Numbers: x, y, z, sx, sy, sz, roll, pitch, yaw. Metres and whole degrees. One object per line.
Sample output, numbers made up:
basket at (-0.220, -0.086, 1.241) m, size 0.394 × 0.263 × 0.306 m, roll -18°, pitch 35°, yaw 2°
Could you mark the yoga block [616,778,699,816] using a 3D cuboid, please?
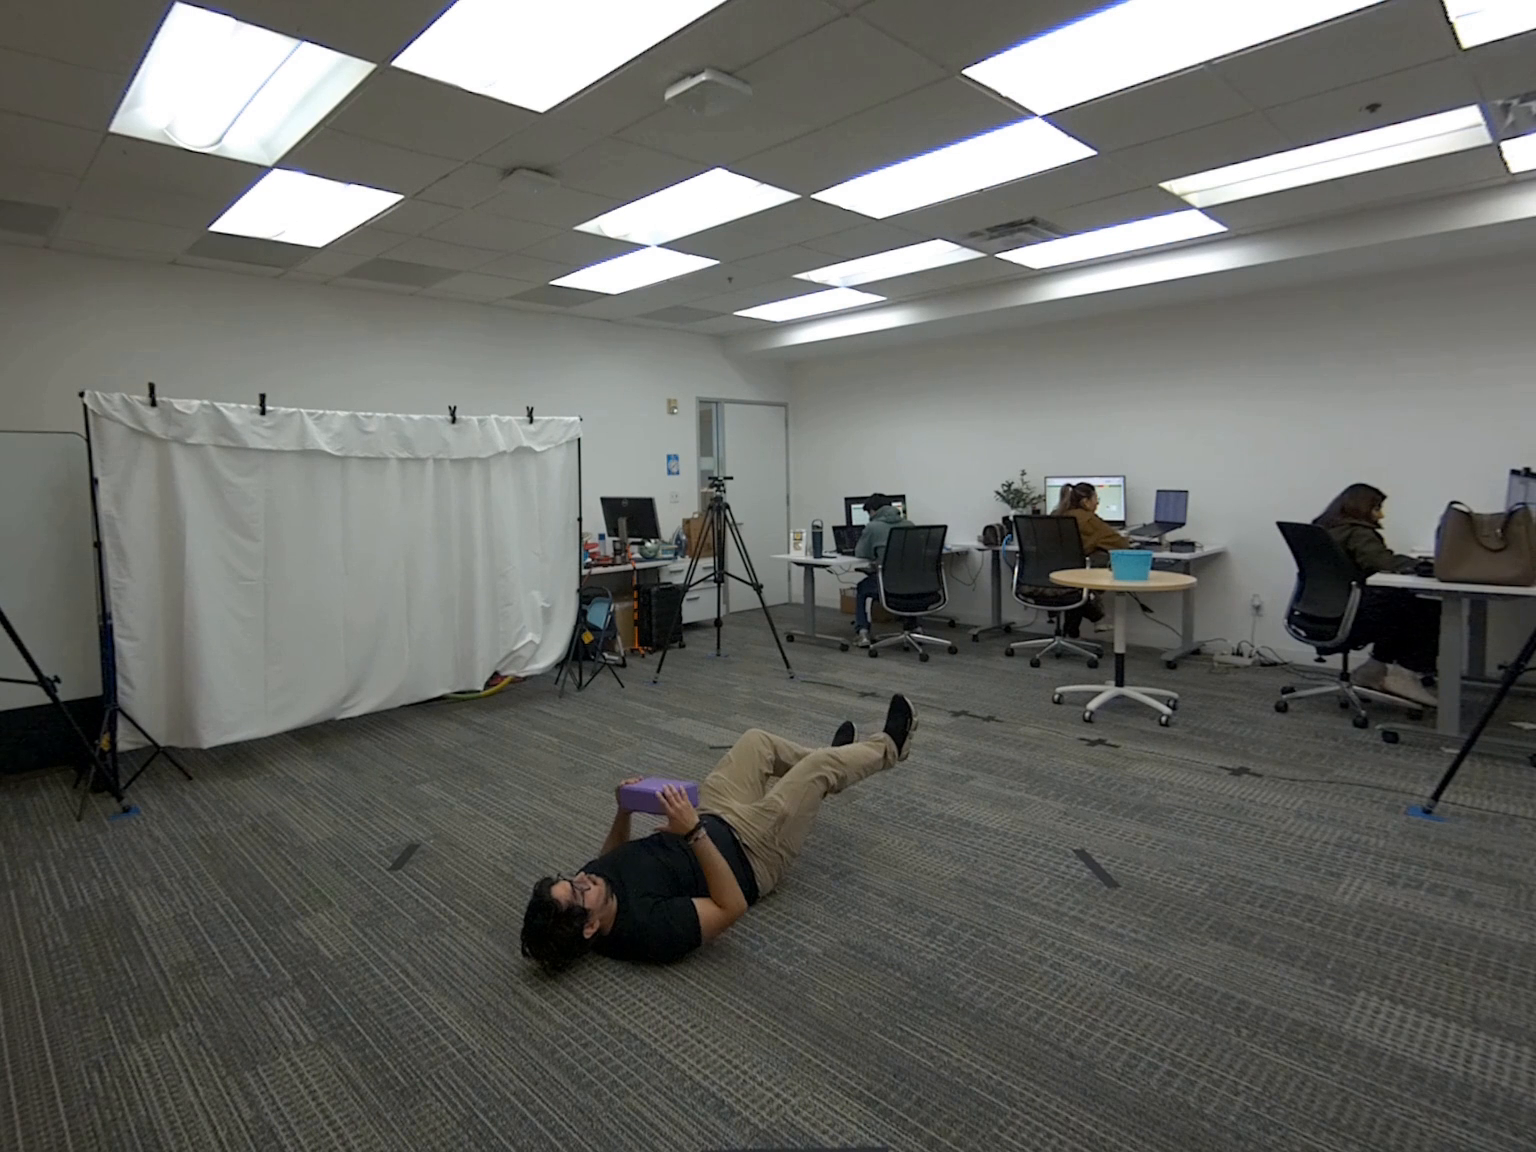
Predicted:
yoga block at (-0.346, 0.707, 2.727) m, size 0.235 × 0.077 × 0.145 m, roll -7°, pitch -3°, yaw 43°
